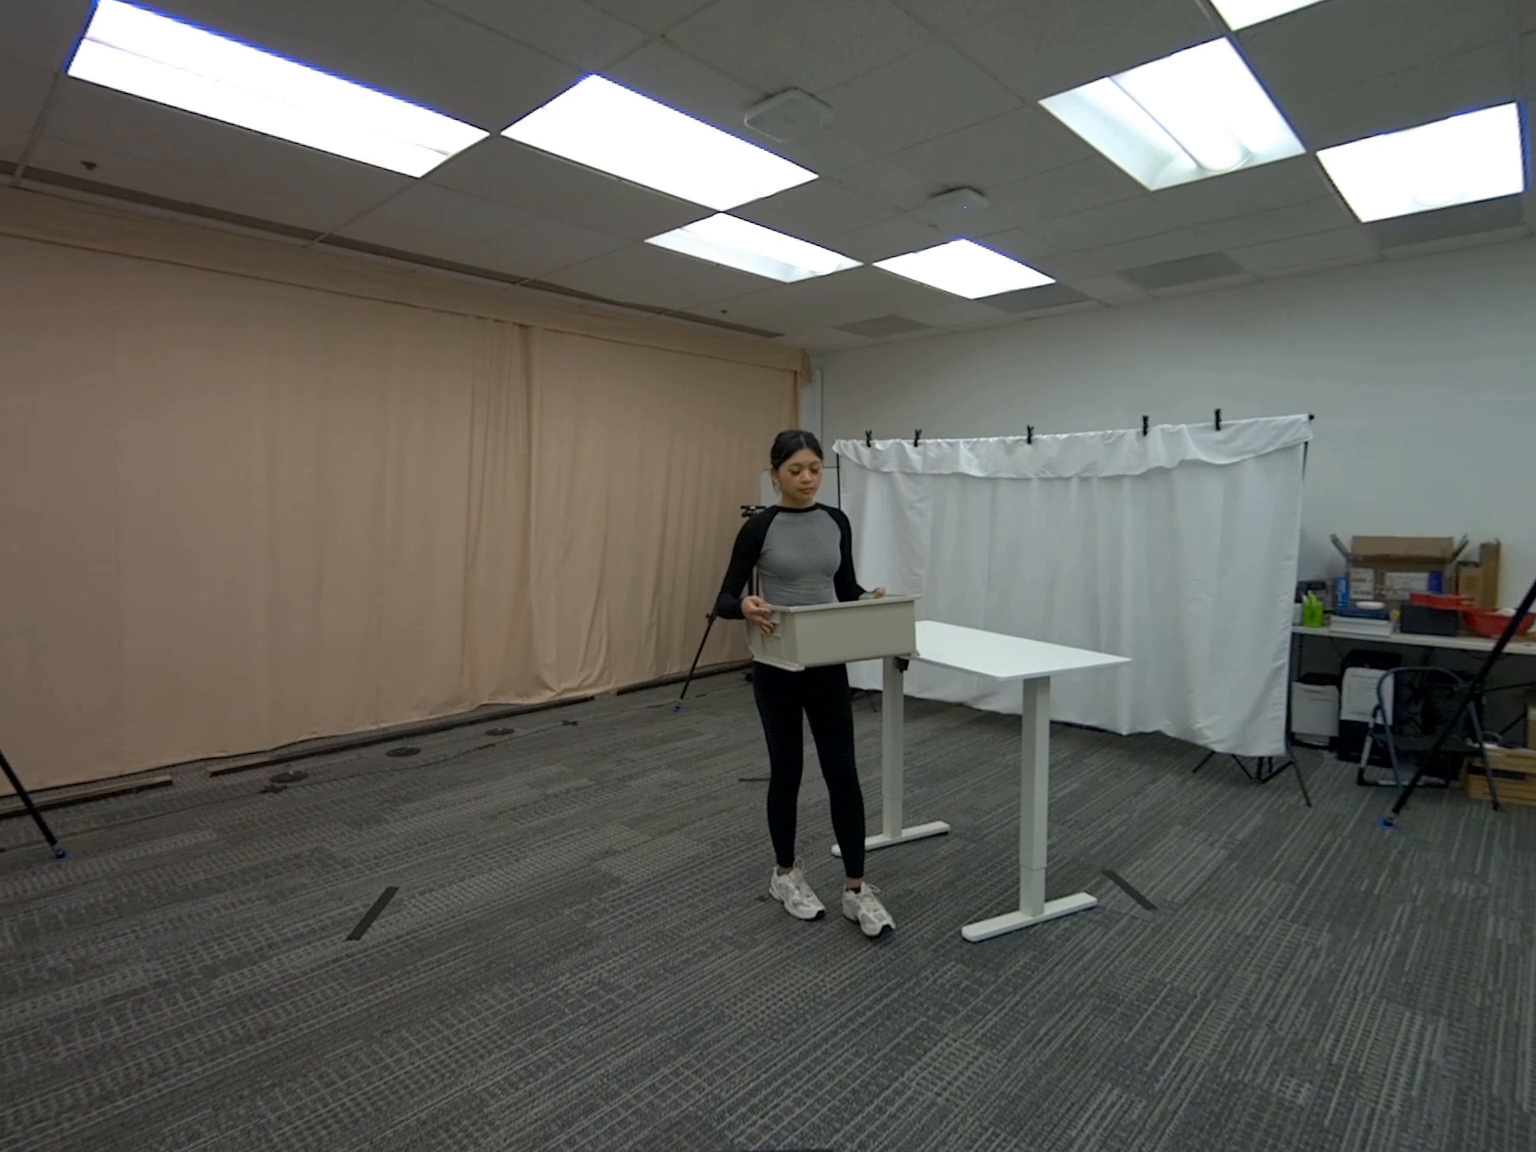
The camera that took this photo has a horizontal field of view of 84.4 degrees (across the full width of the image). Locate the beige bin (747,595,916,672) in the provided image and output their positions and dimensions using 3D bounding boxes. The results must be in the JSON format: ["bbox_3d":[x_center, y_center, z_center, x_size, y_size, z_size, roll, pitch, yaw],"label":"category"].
[{"bbox_3d":[0.190,0.165,2.578,0.414,0.189,0.385,-3,3,-19],"label":"beige bin"}]
